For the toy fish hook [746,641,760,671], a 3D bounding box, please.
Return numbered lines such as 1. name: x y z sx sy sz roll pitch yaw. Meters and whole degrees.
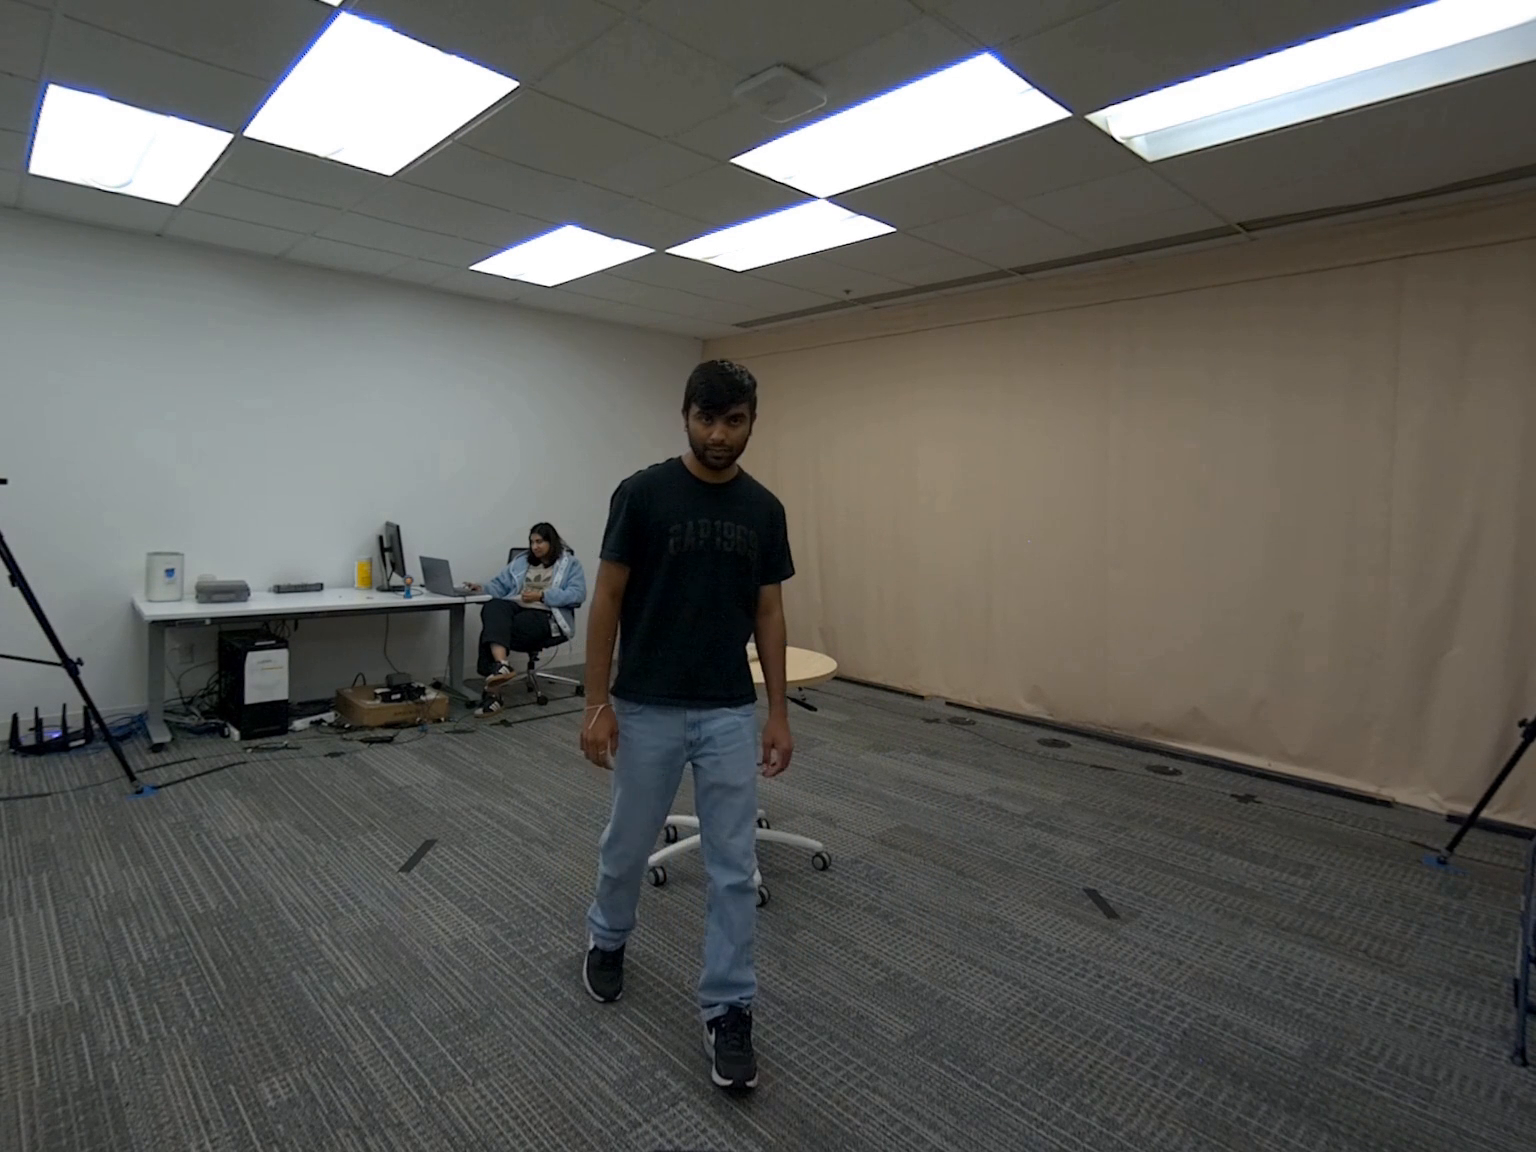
1. toy fish hook: -0.207 0.312 3.127 0.229 0.048 0.495 -4 -1 38
